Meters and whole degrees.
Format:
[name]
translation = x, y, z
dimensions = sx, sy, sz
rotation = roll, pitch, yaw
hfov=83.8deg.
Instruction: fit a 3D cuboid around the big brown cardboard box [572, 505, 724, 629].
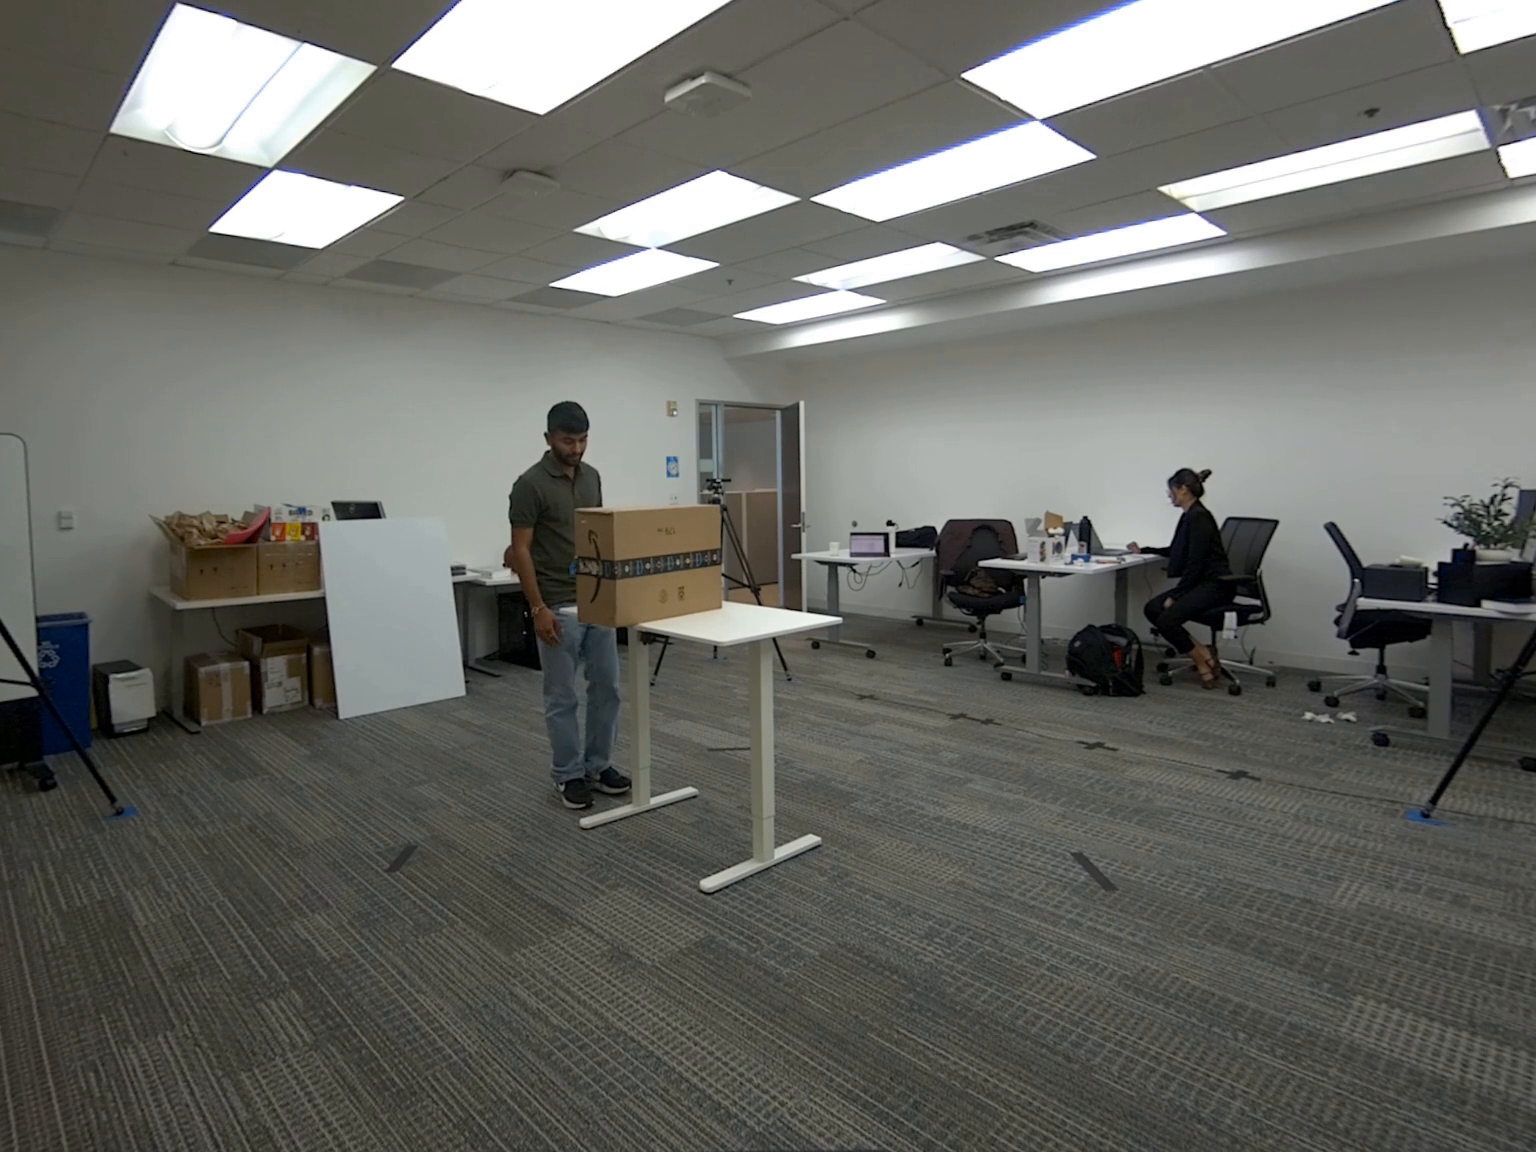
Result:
[big brown cardboard box]
translation = -0.450, -0.054, 3.266
dimensions = 0.240, 0.416, 0.574
rotation = 4, 7, 41
